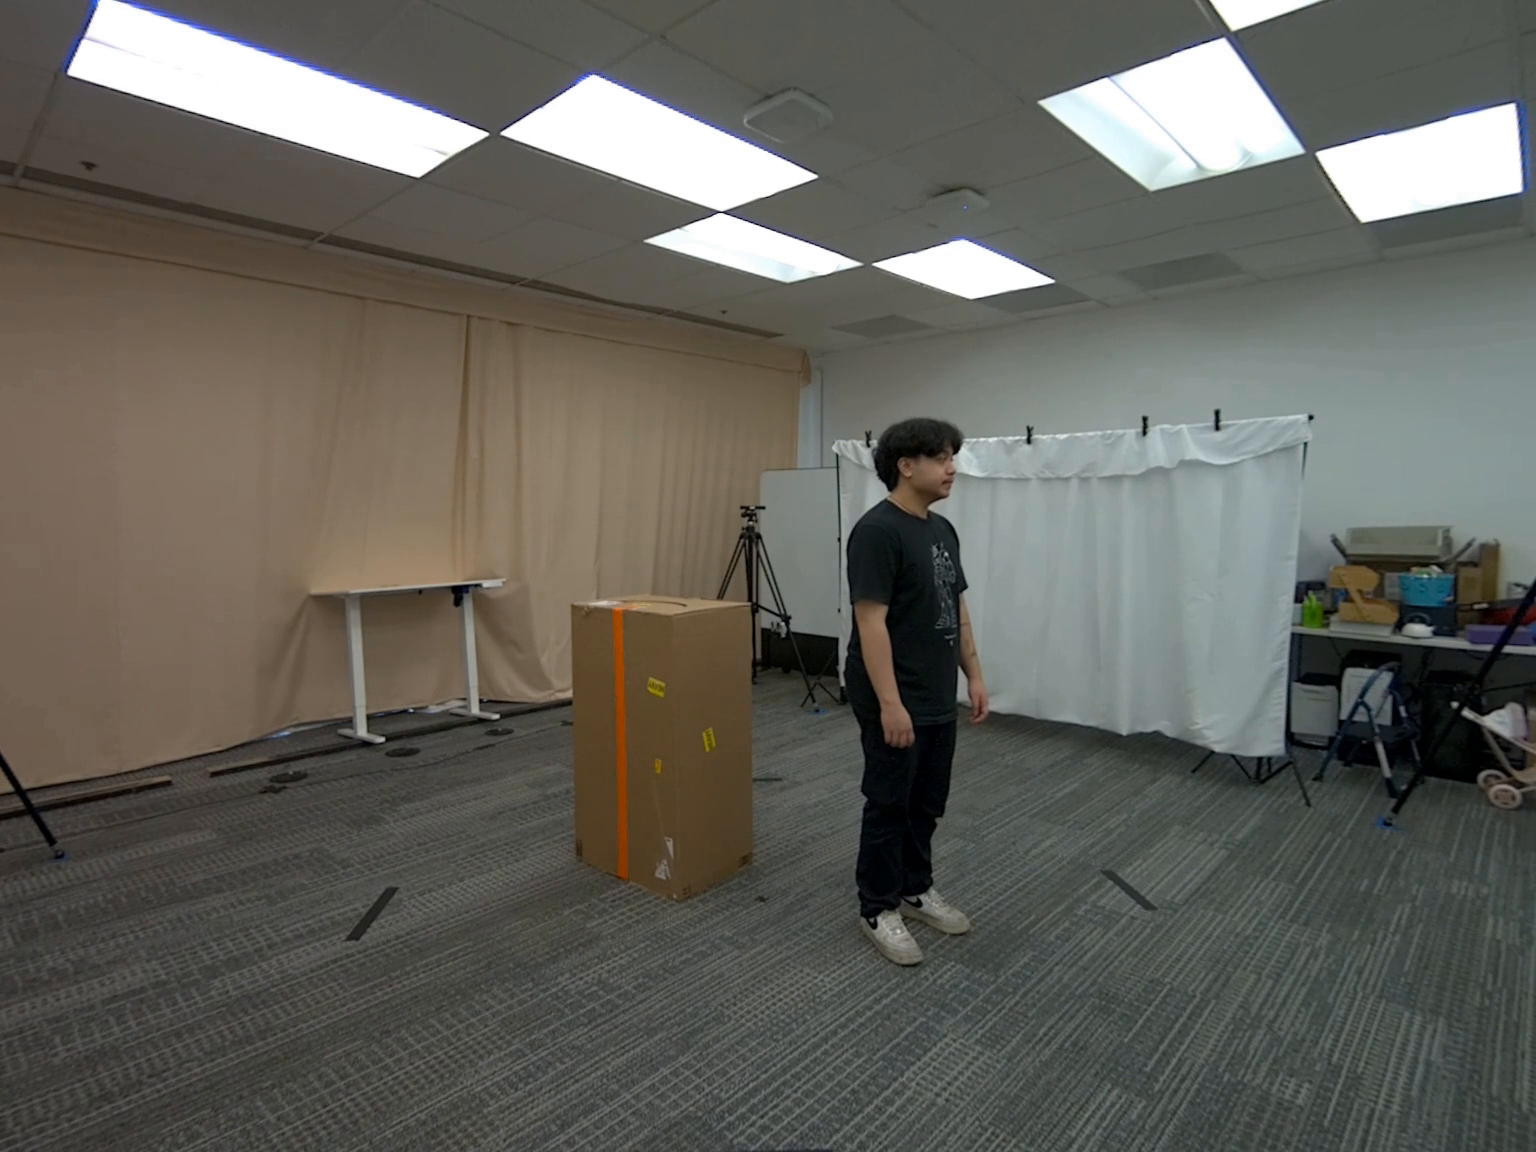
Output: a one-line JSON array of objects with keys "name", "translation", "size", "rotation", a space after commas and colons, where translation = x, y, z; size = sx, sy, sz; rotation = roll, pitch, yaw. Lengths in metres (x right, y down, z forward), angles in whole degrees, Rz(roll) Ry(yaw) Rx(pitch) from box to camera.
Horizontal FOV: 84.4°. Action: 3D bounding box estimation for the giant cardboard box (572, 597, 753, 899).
[{"name": "giant cardboard box", "translation": [-0.416, 0.612, 3.283], "size": [0.603, 1.025, 0.433], "rotation": [2, 4, 41]}]
